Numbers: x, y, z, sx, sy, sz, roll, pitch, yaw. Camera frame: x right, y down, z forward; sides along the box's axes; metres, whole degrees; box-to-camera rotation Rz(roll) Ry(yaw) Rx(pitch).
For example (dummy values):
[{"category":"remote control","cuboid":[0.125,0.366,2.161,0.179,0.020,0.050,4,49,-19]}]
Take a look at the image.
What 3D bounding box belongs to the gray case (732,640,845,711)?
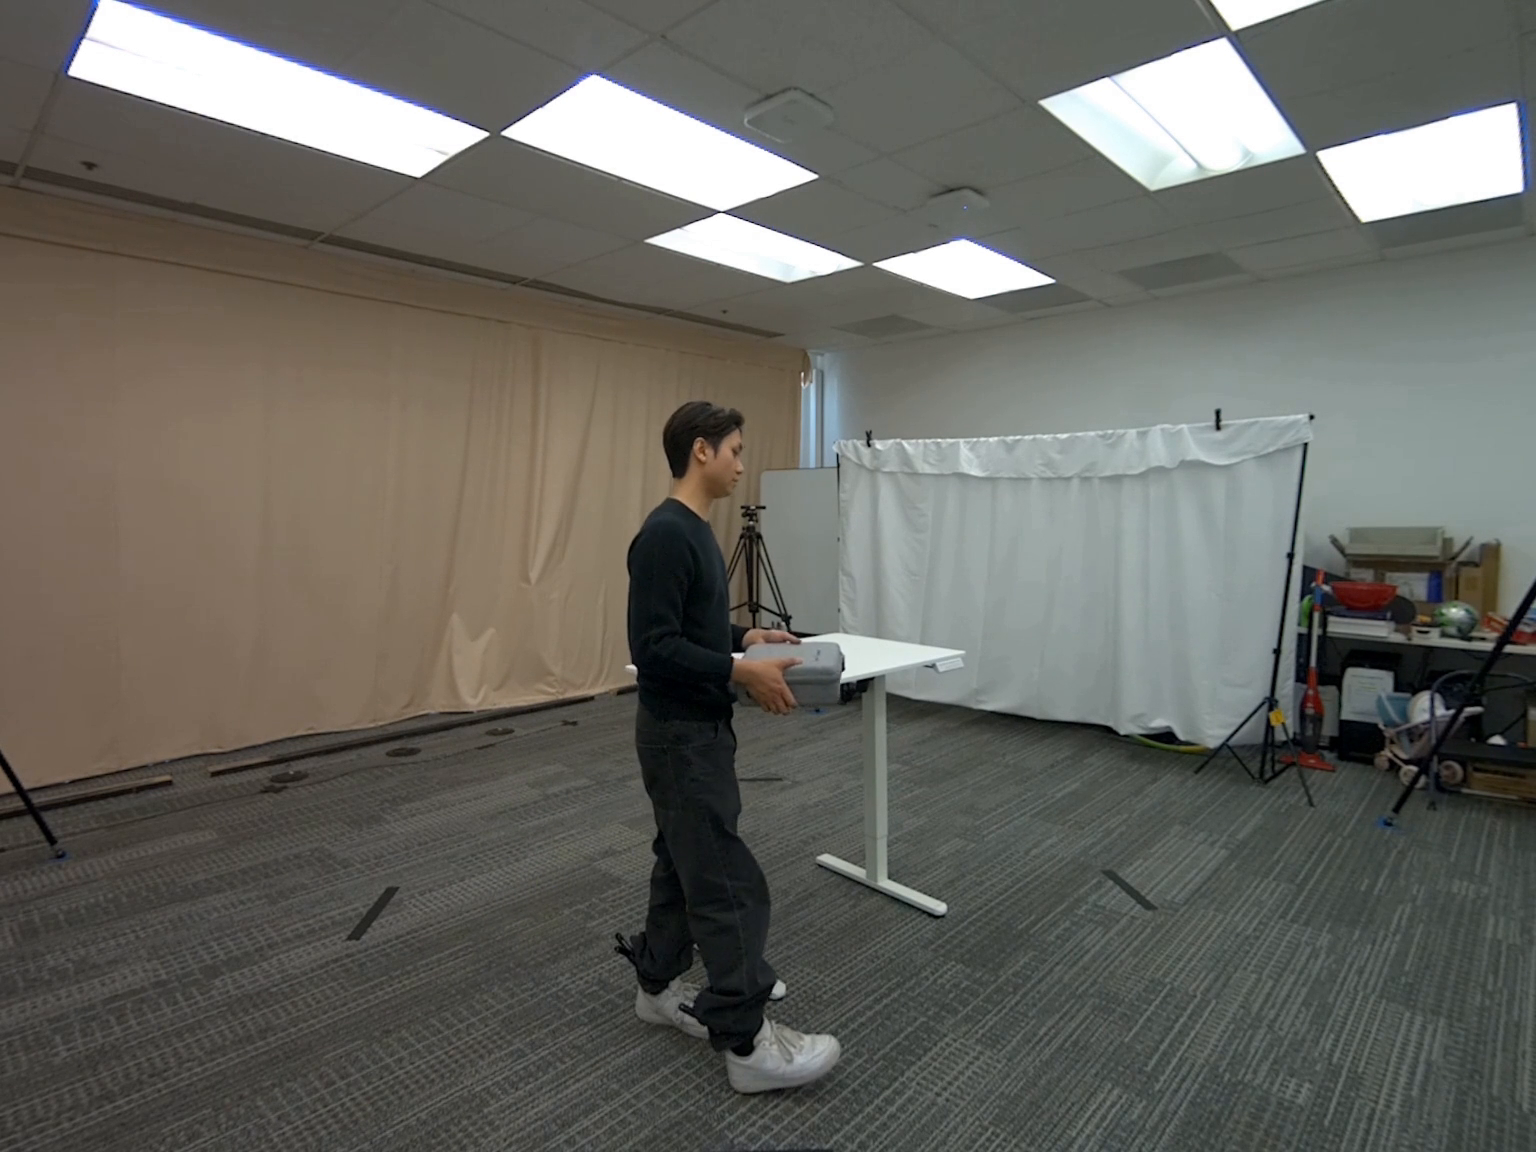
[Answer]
[{"category":"gray case","cuboid":[0.060,0.245,2.103,0.263,0.104,0.256,-3,10,8]}]
